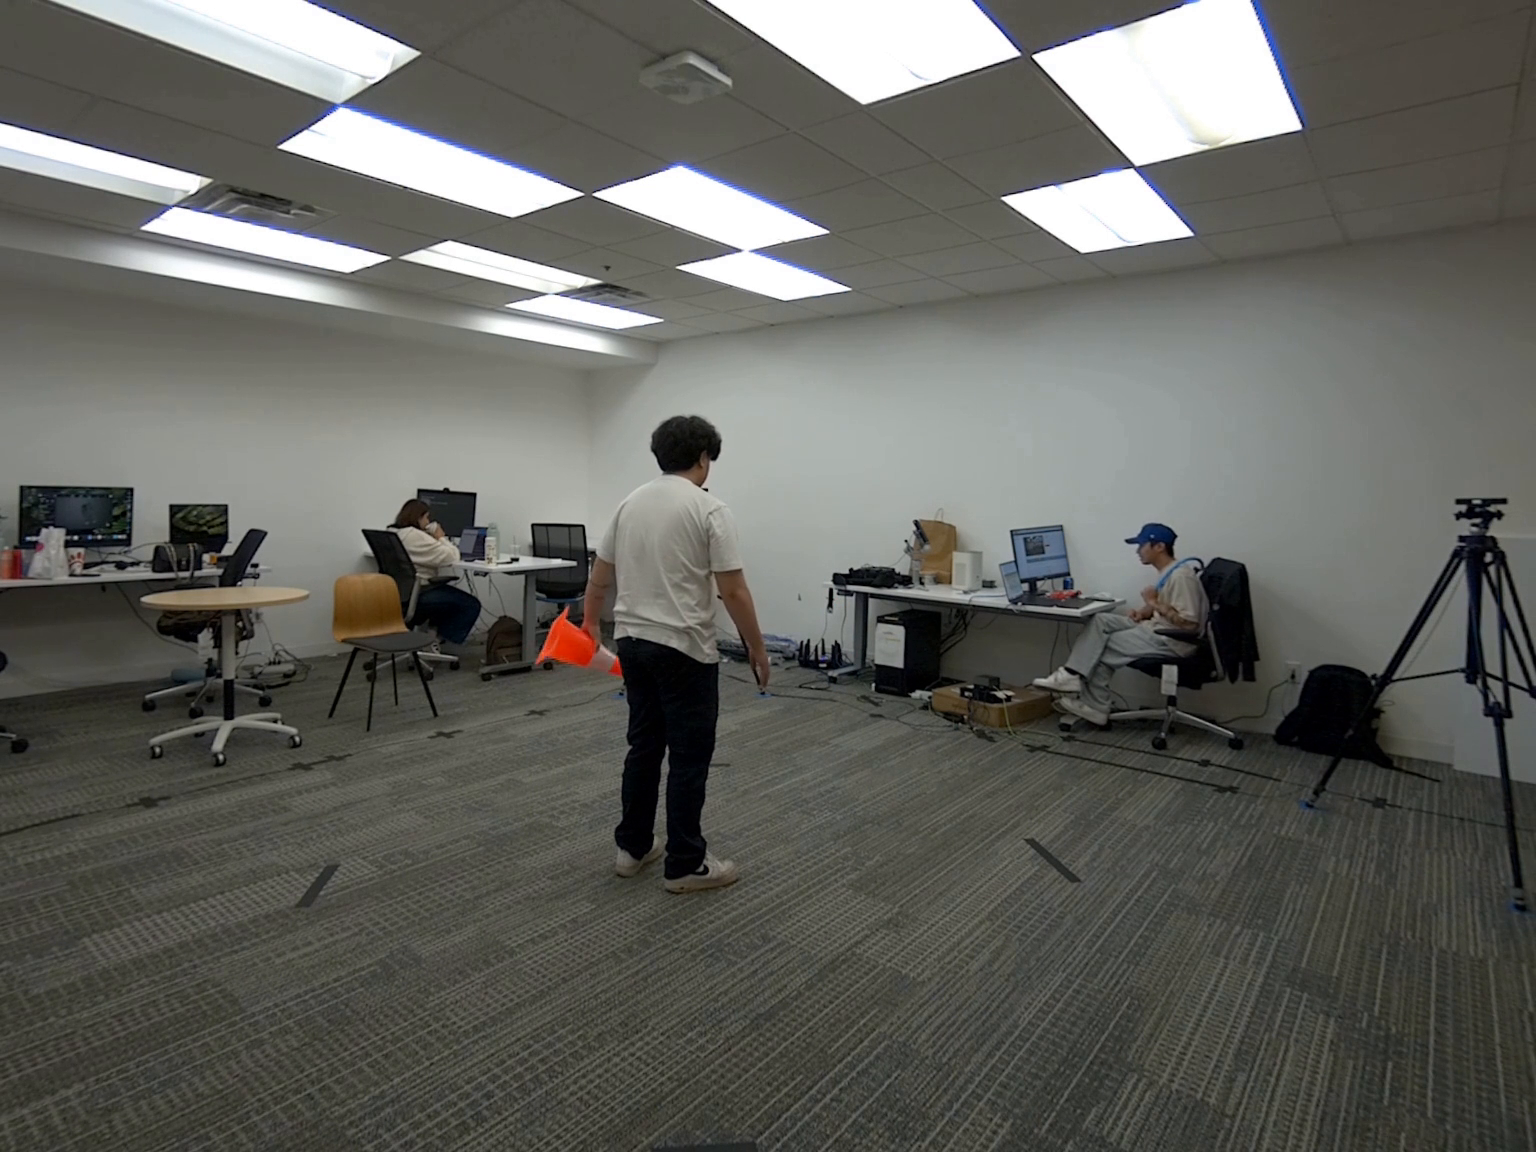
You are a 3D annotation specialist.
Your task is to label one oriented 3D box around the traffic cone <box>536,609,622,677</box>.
[{"bbox_3d":[-0.674,0.320,3.302,0.379,0.207,0.203,28,-32,-9],"label":"traffic cone"}]
